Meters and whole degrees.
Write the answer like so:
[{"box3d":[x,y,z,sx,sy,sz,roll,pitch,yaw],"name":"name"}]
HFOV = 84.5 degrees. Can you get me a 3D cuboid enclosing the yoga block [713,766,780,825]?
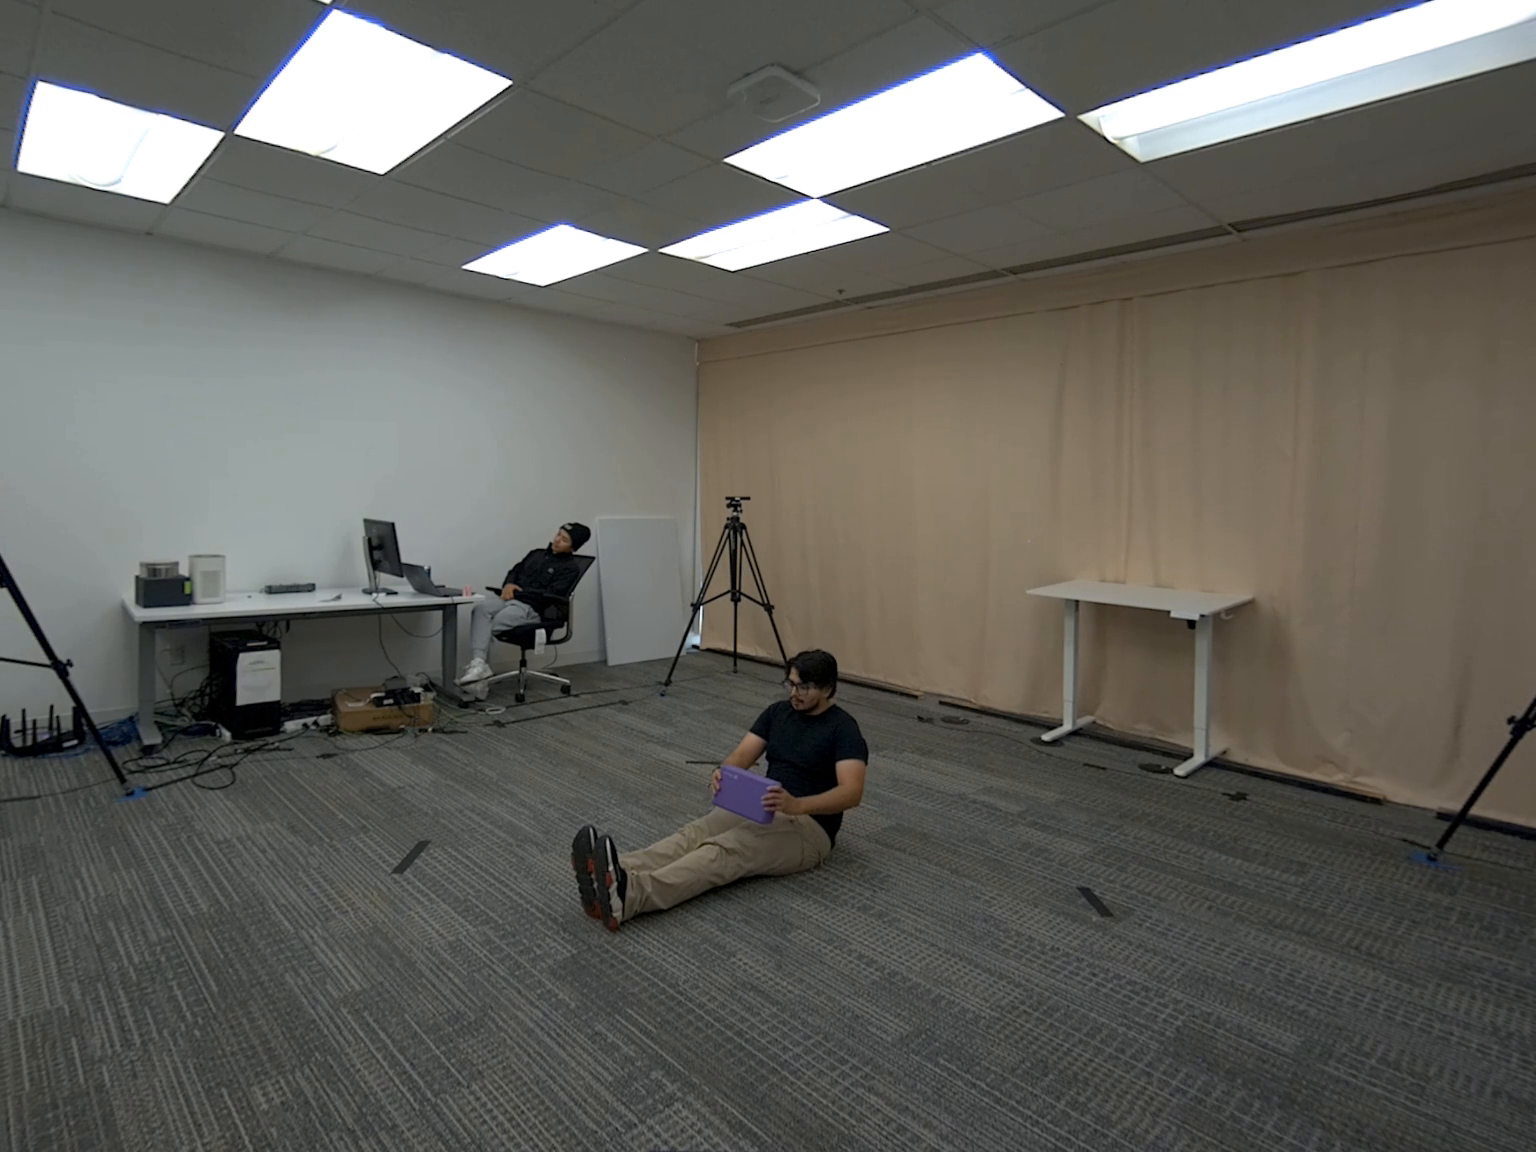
[{"box3d":[-0.077,0.796,3.044,0.235,0.149,0.074,11,-6,30],"name":"yoga block"}]
